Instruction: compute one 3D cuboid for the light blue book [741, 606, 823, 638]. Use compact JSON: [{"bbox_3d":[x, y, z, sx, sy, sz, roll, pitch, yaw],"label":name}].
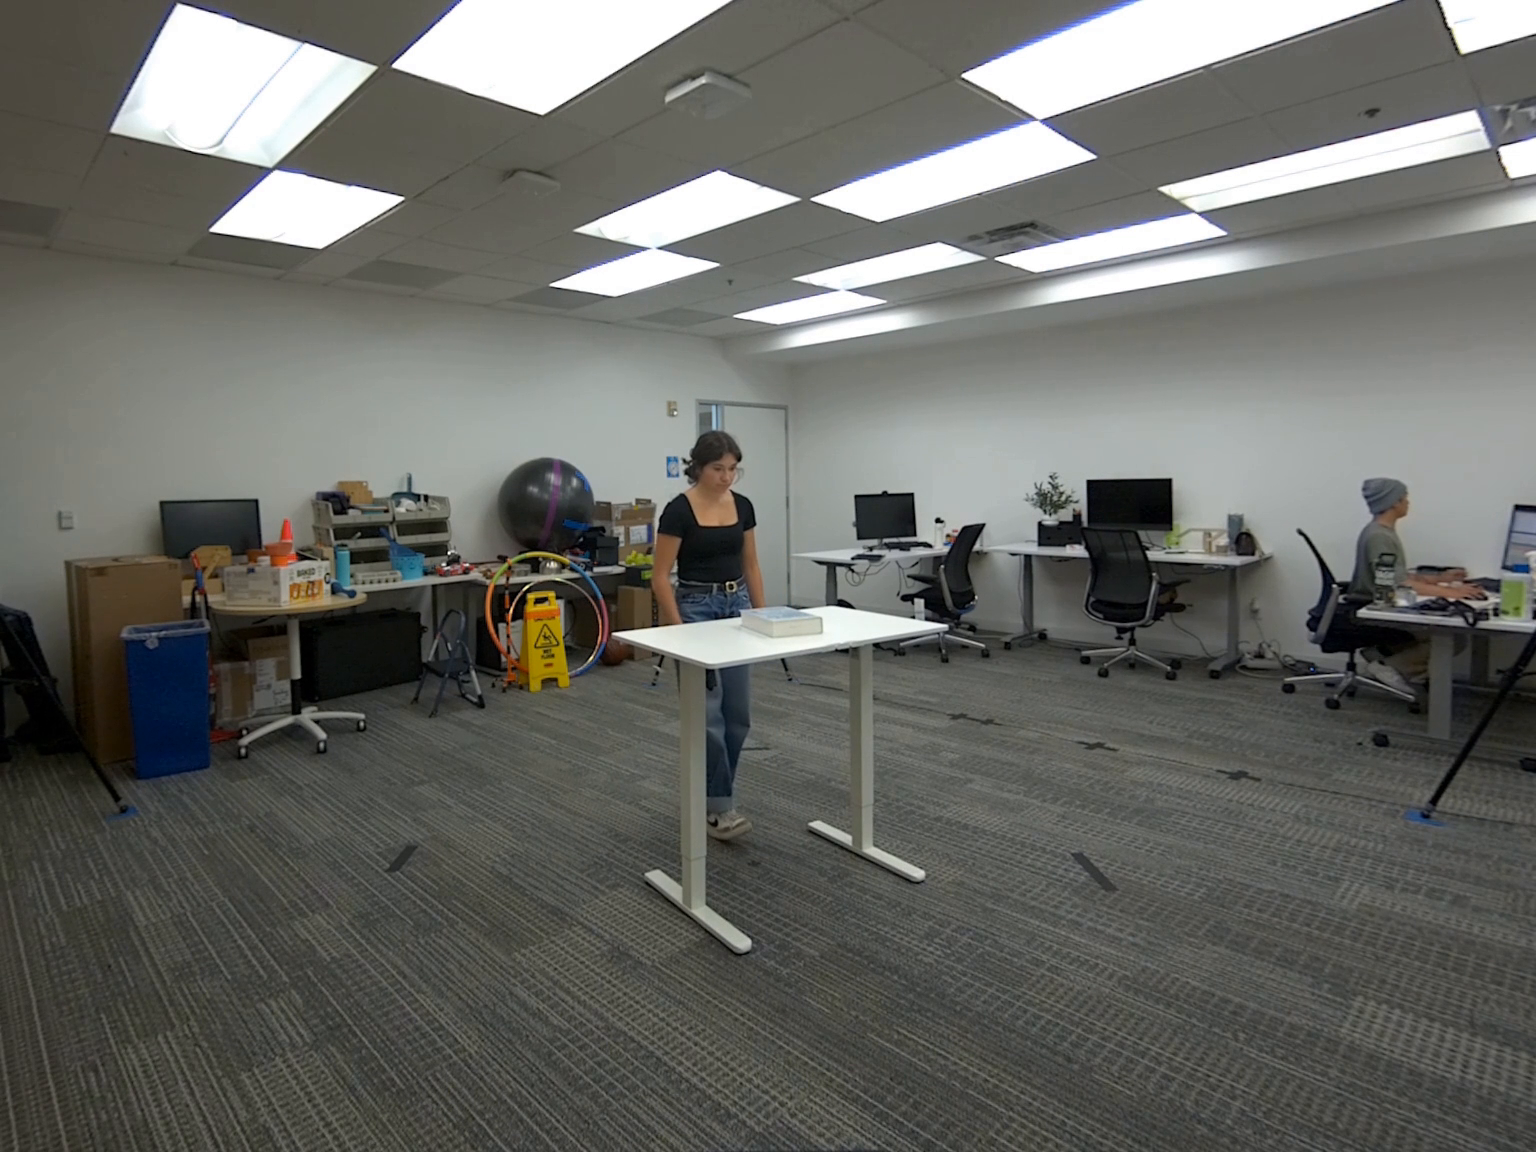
[{"bbox_3d":[0.041,0.157,2.889,0.187,0.059,0.267,-3,7,-25],"label":"light blue book"}]
